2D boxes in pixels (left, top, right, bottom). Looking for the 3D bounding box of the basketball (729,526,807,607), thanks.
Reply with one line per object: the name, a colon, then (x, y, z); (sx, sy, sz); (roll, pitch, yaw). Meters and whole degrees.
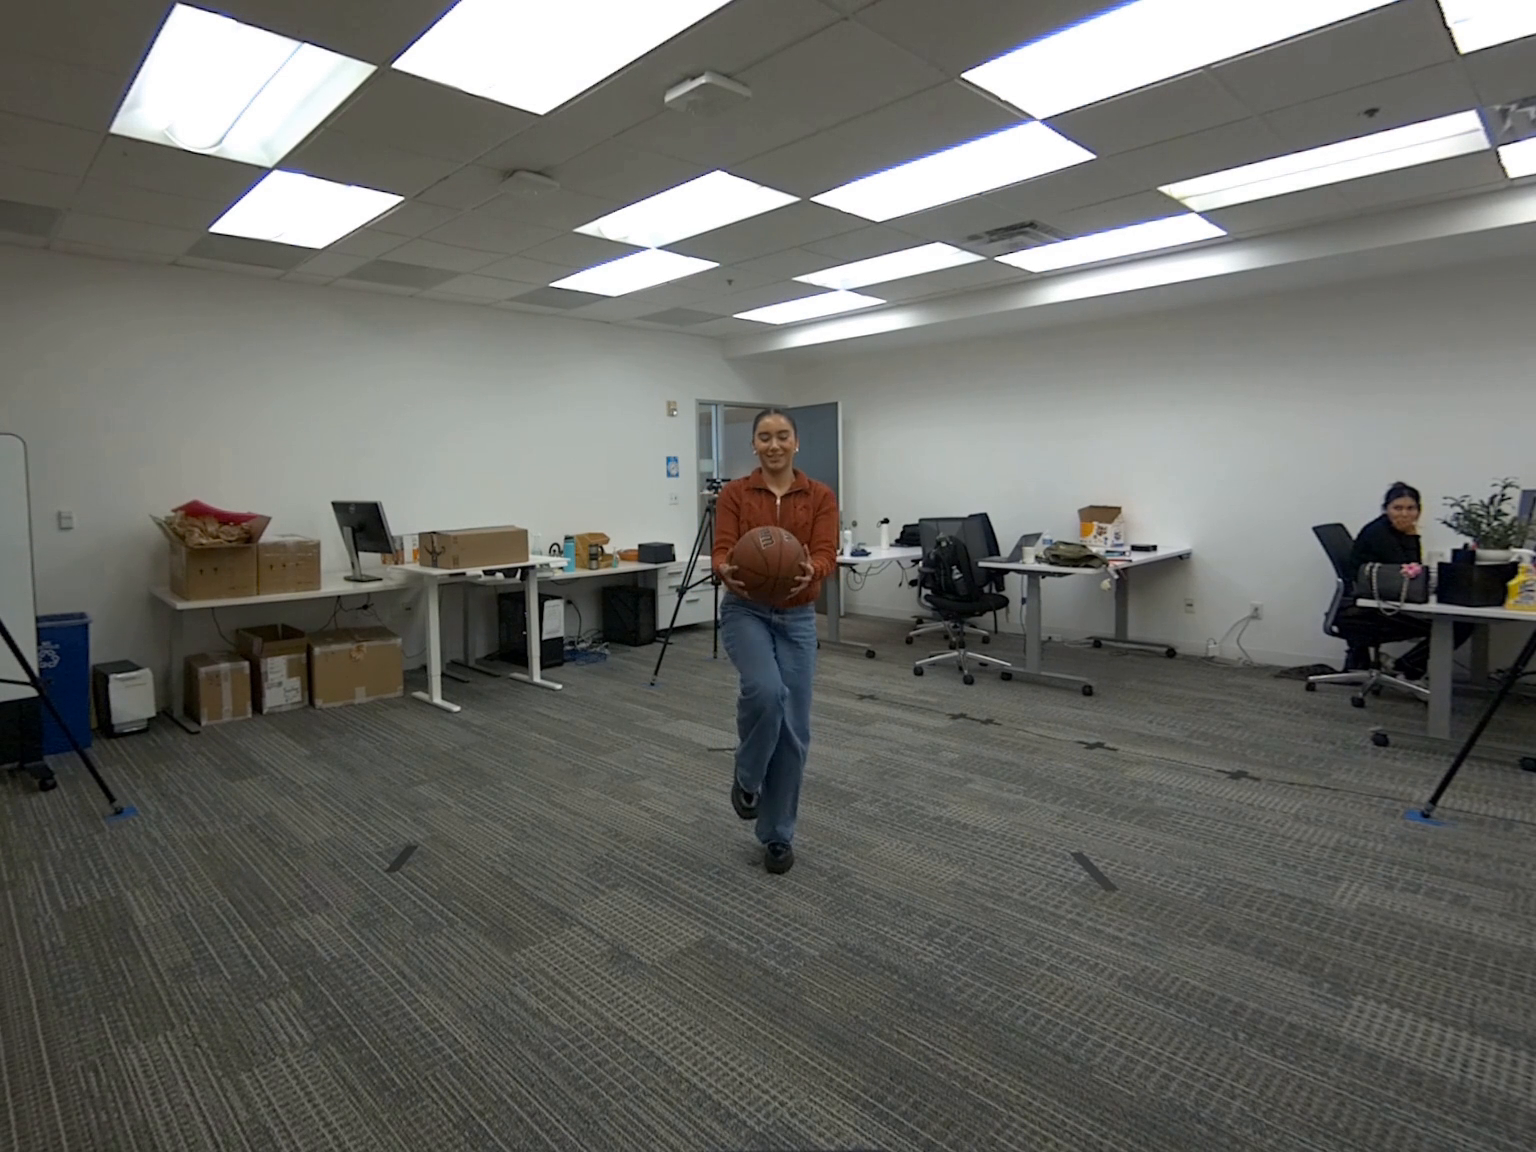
basketball: (-0.005, -0.045, 2.707); (0.236, 0.235, 0.237); (-1, 5, -2)
